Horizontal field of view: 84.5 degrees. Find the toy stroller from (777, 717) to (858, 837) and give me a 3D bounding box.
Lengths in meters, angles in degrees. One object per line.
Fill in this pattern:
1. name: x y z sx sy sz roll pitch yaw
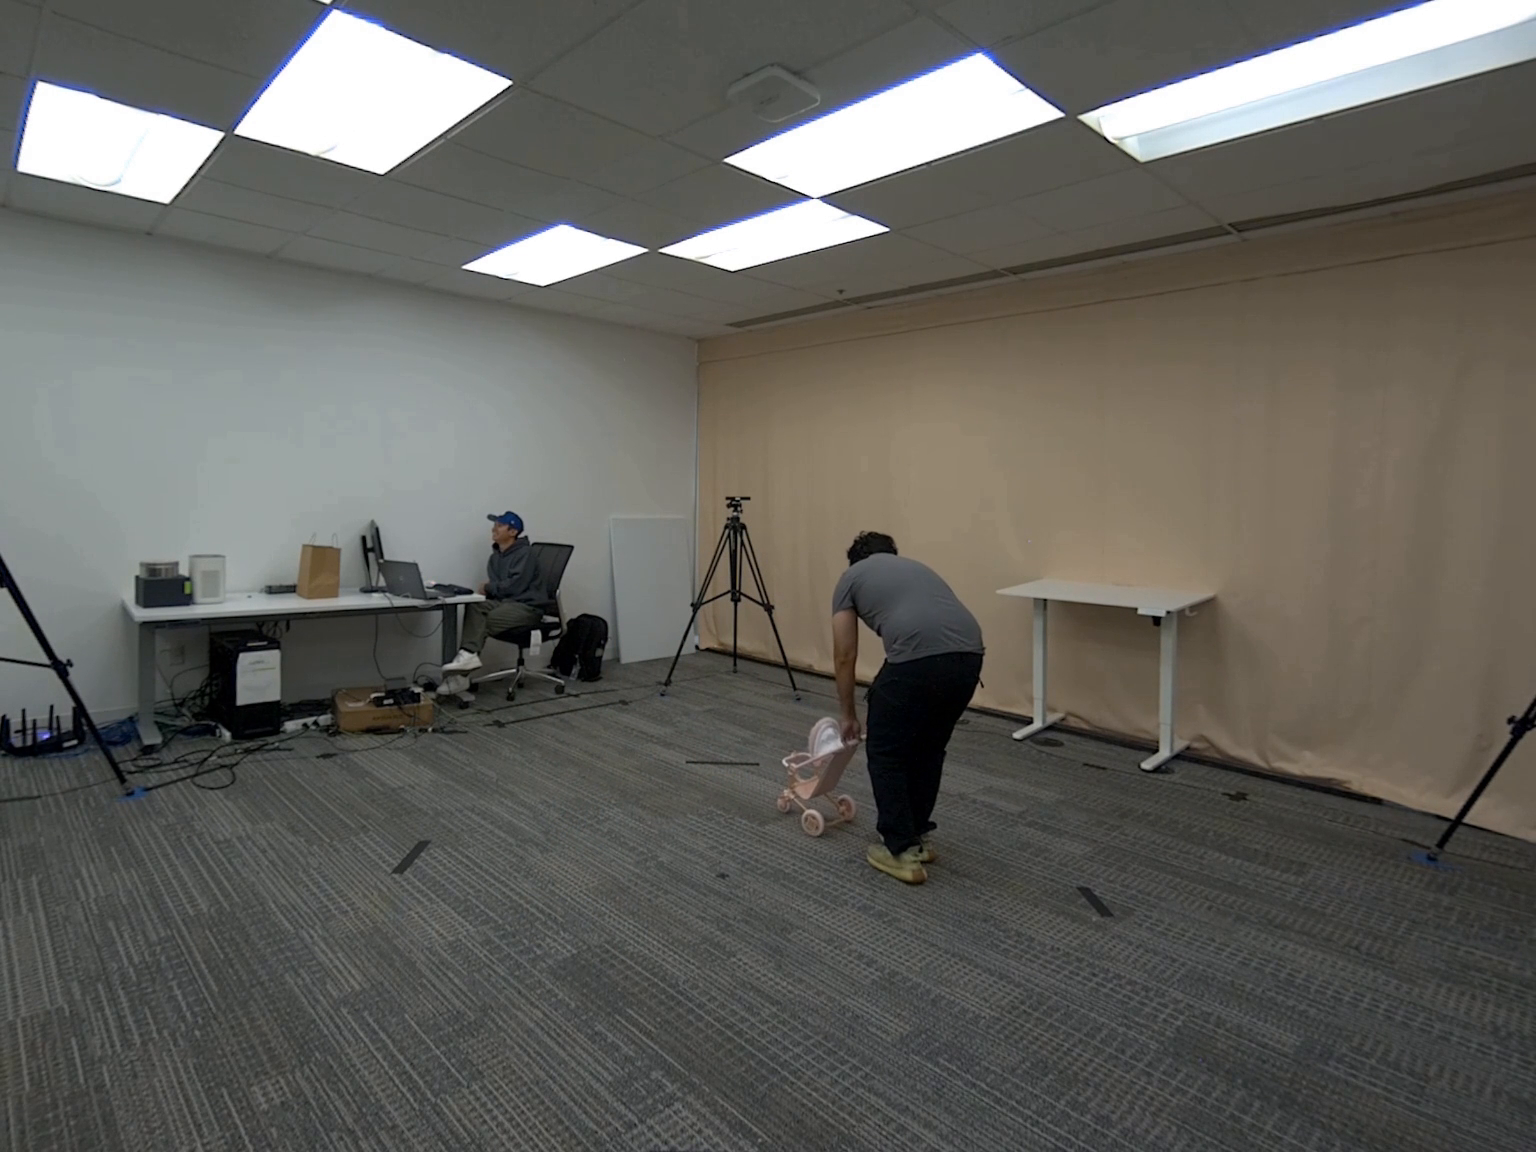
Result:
1. toy stroller: 0.216 0.844 3.623 0.275 0.531 0.352 -1 21 -45
